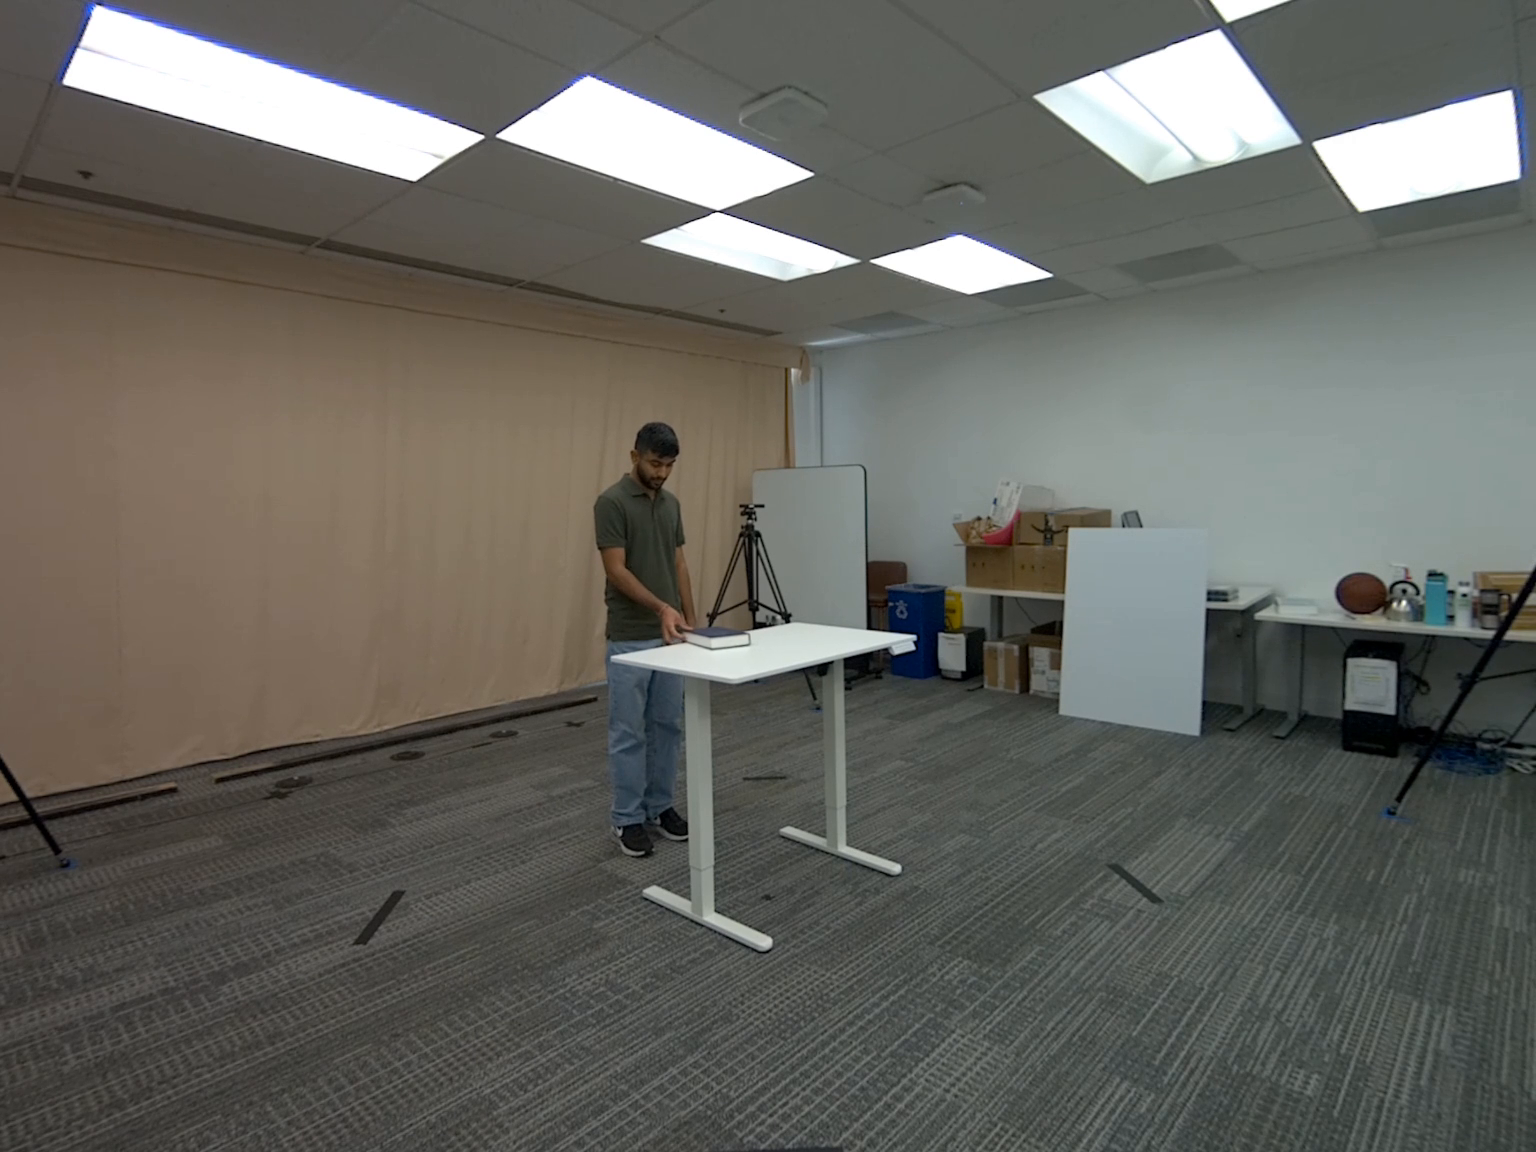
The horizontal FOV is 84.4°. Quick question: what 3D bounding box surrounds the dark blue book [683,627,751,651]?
[{"bbox_3d":[-0.192,0.230,3.133,0.159,0.045,0.252,-6,6,-31],"label":"dark blue book"}]
